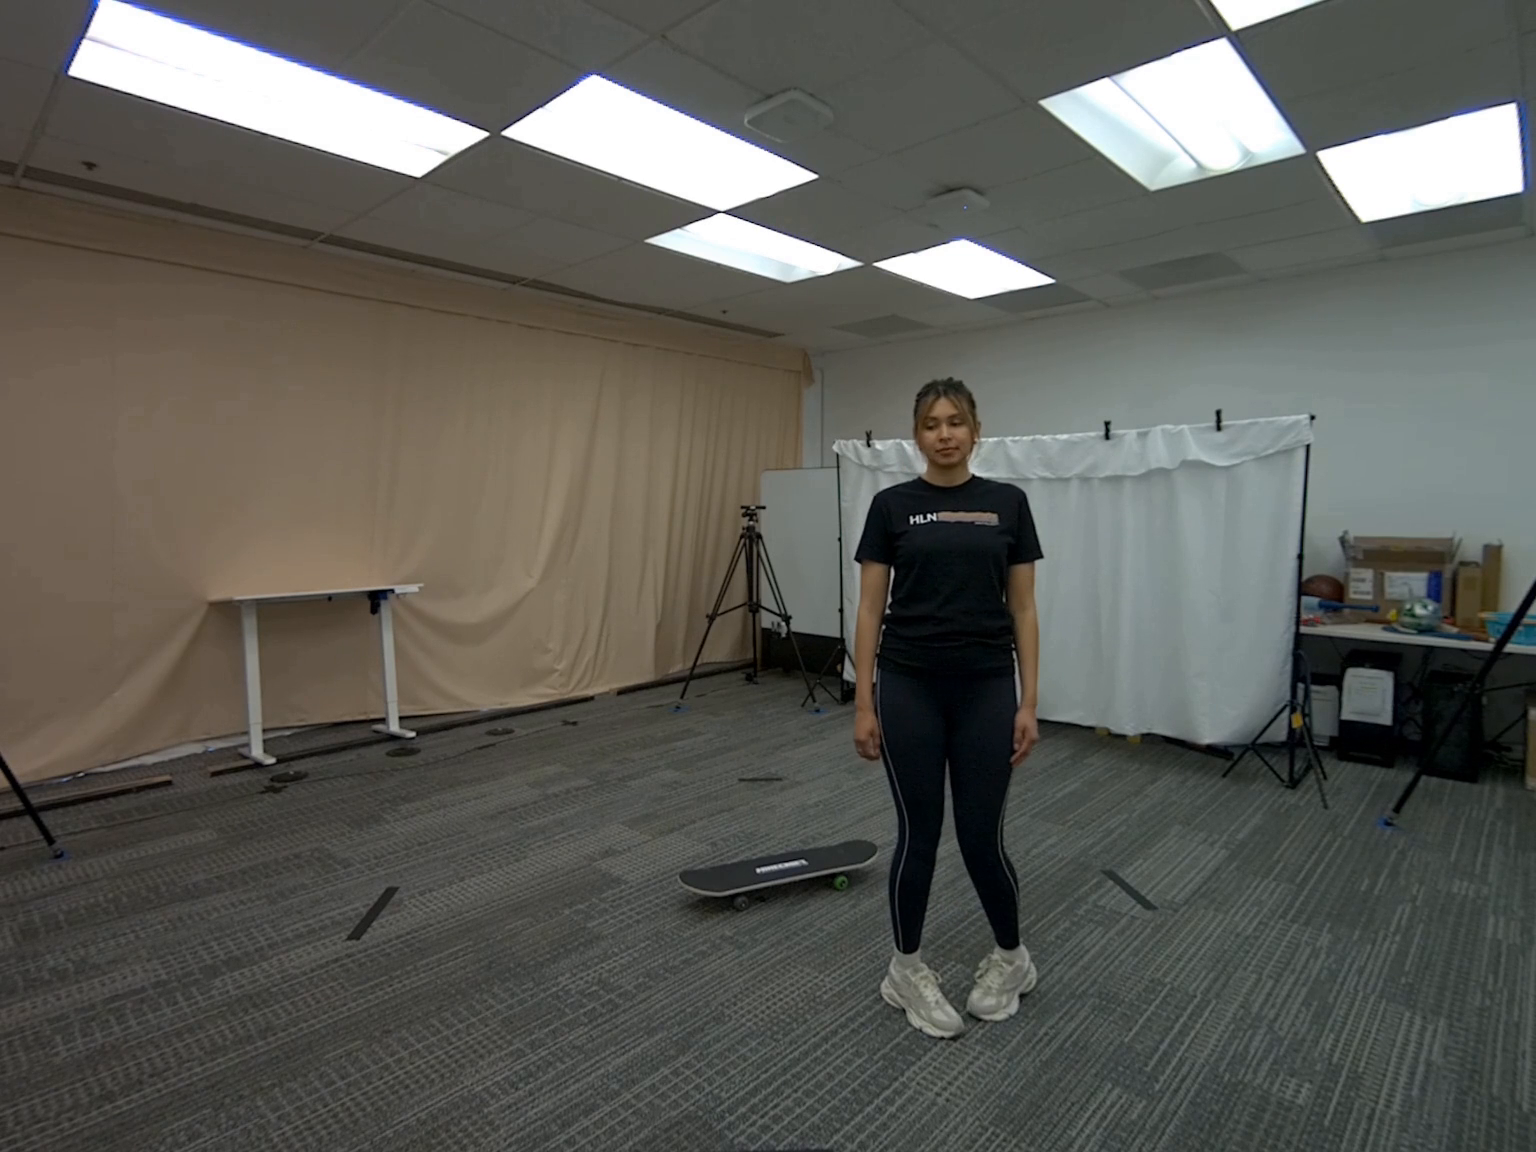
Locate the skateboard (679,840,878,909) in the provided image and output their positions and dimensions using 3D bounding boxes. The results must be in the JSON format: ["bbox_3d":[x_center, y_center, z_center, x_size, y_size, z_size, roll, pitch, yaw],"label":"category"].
[{"bbox_3d":[0.053,1.081,3.039,0.768,0.110,0.198,-2,6,-23],"label":"skateboard"}]
